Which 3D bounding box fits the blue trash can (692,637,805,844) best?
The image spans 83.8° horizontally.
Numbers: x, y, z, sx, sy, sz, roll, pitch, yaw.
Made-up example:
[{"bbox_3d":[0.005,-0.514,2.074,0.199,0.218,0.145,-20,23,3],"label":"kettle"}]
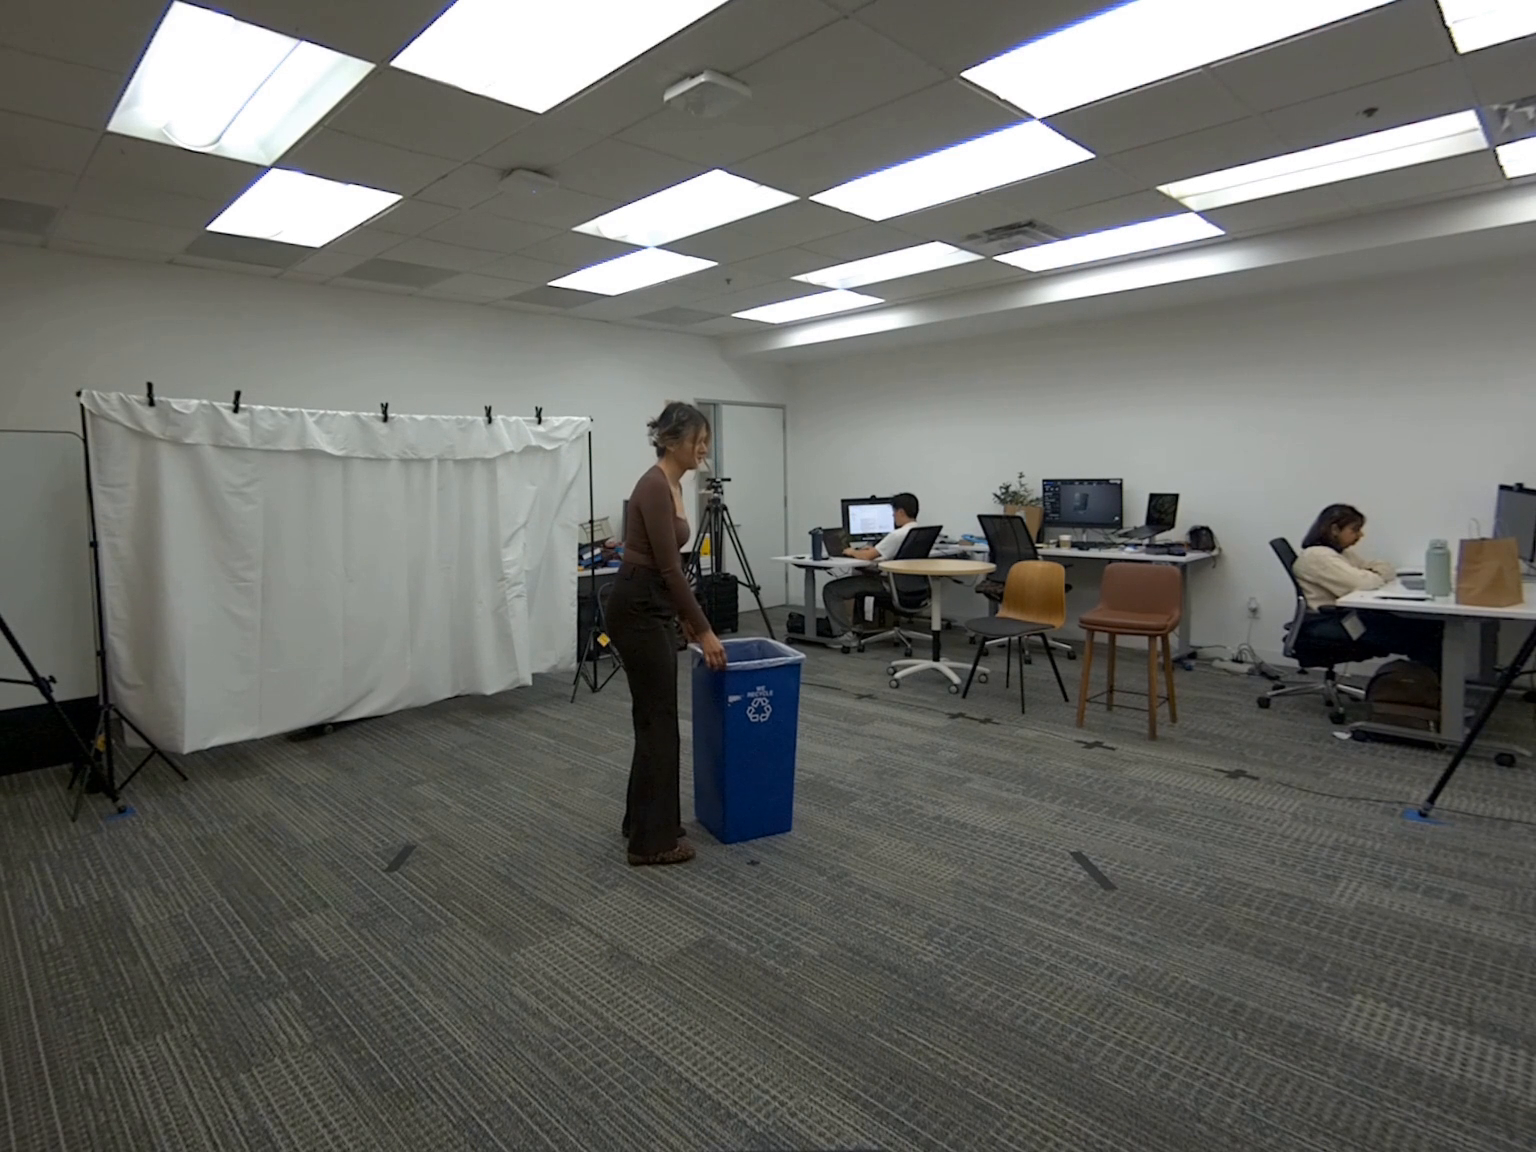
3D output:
[{"bbox_3d":[-0.094,0.643,3.421,0.366,0.709,0.389,-3,8,-27],"label":"blue trash can"}]
